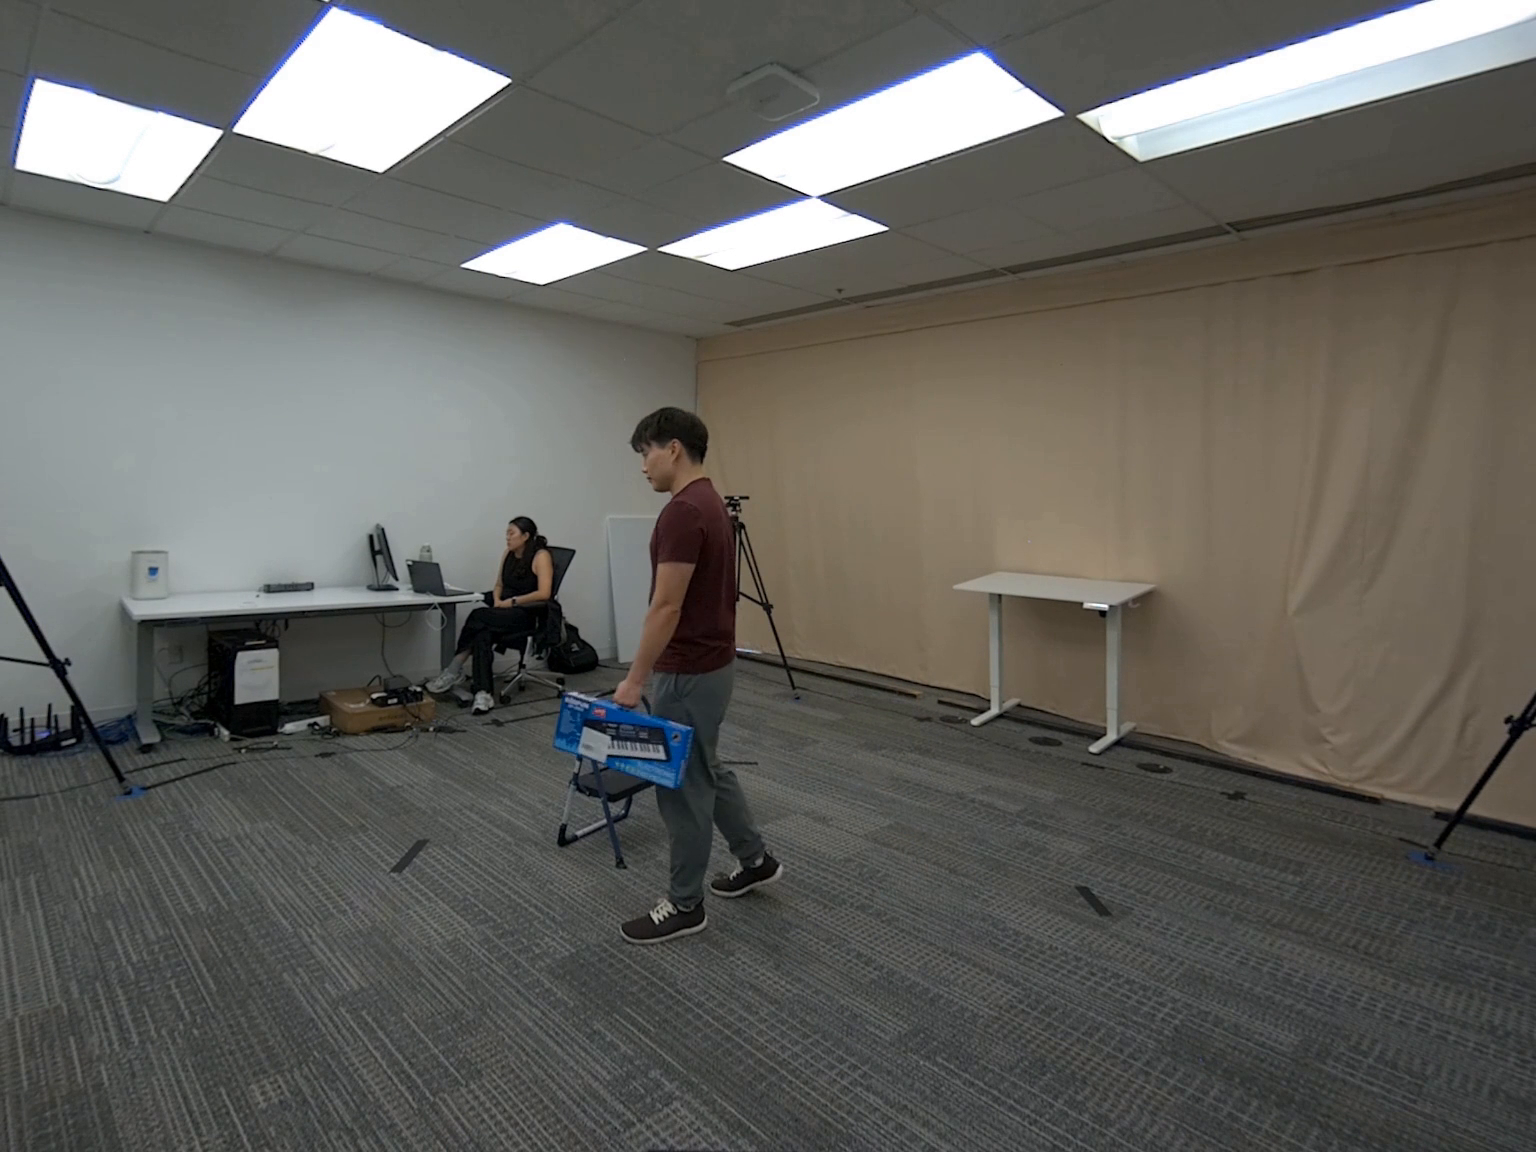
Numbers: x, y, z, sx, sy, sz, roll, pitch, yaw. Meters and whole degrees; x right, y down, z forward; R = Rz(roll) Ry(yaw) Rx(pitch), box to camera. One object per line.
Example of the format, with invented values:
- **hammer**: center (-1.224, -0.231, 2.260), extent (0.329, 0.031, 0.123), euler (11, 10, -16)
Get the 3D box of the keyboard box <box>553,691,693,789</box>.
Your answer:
- **keyboard box**: center (-0.438, 0.495, 2.532), extent (0.446, 0.176, 0.058), euler (12, 1, 24)
